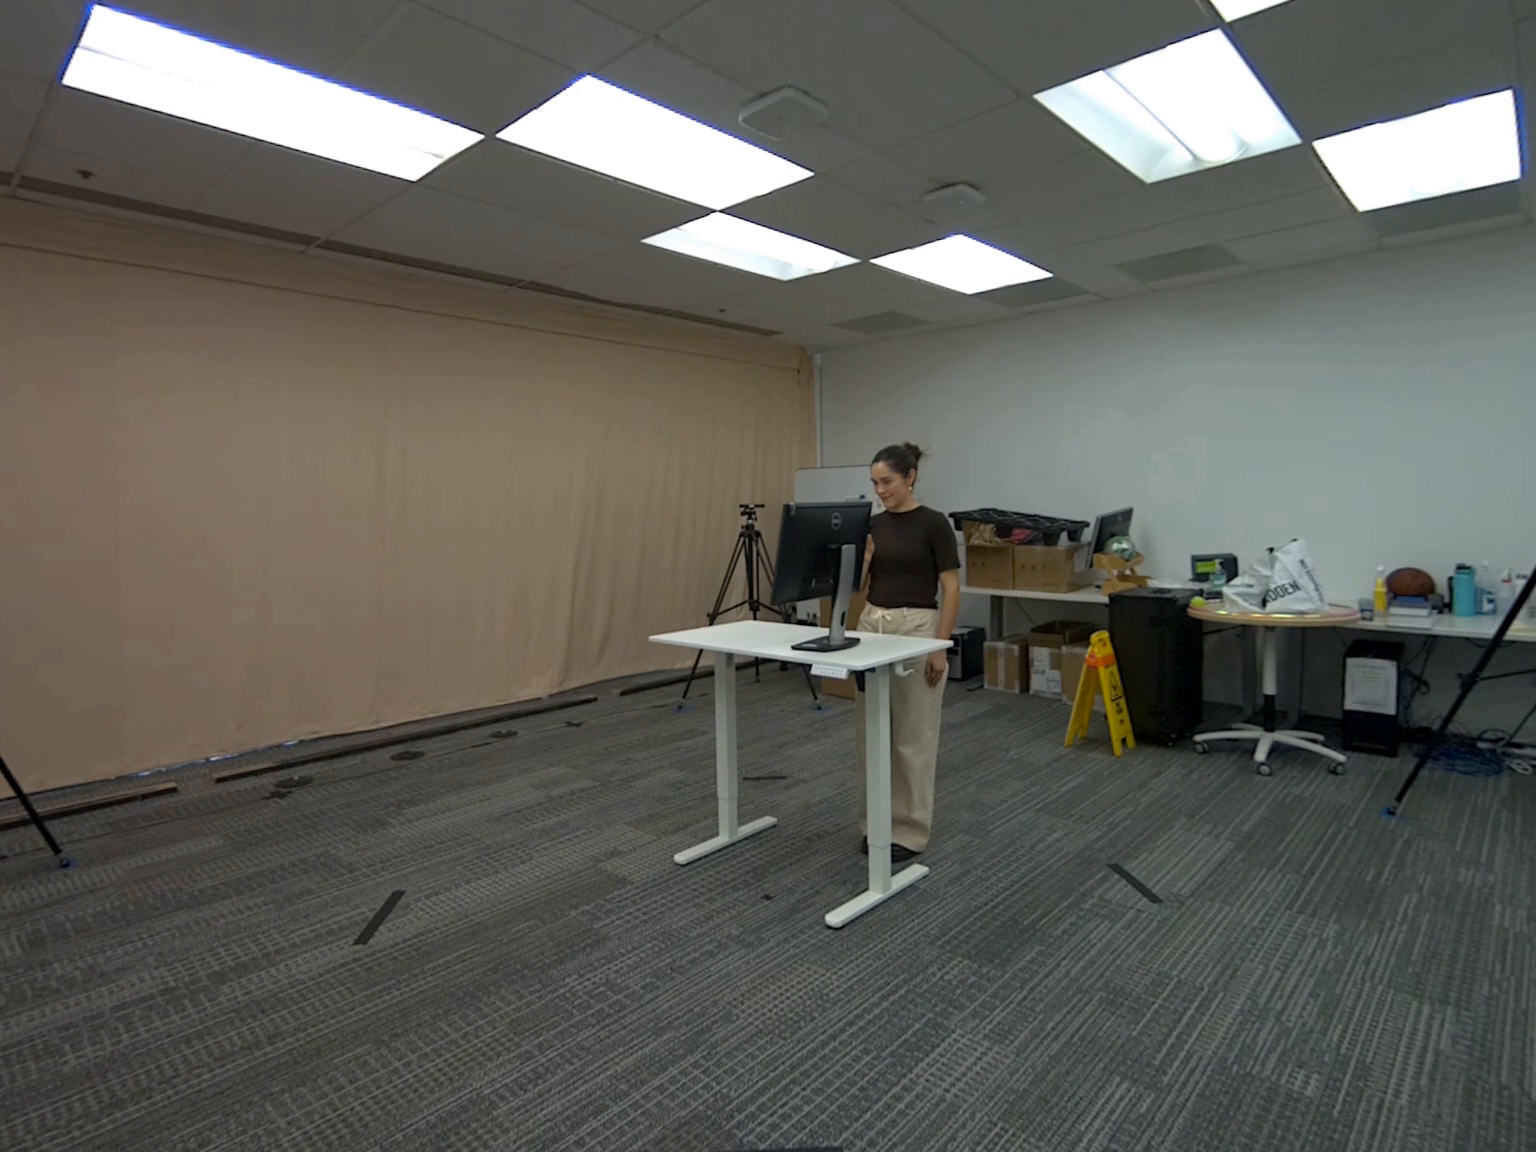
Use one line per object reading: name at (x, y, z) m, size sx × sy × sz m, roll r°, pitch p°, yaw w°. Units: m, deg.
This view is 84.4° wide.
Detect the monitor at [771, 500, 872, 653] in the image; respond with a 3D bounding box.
monitor at (0.224, 0.000, 2.992) m, size 0.193 × 0.522 × 0.523 m, roll -1°, pitch 3°, yaw 42°
